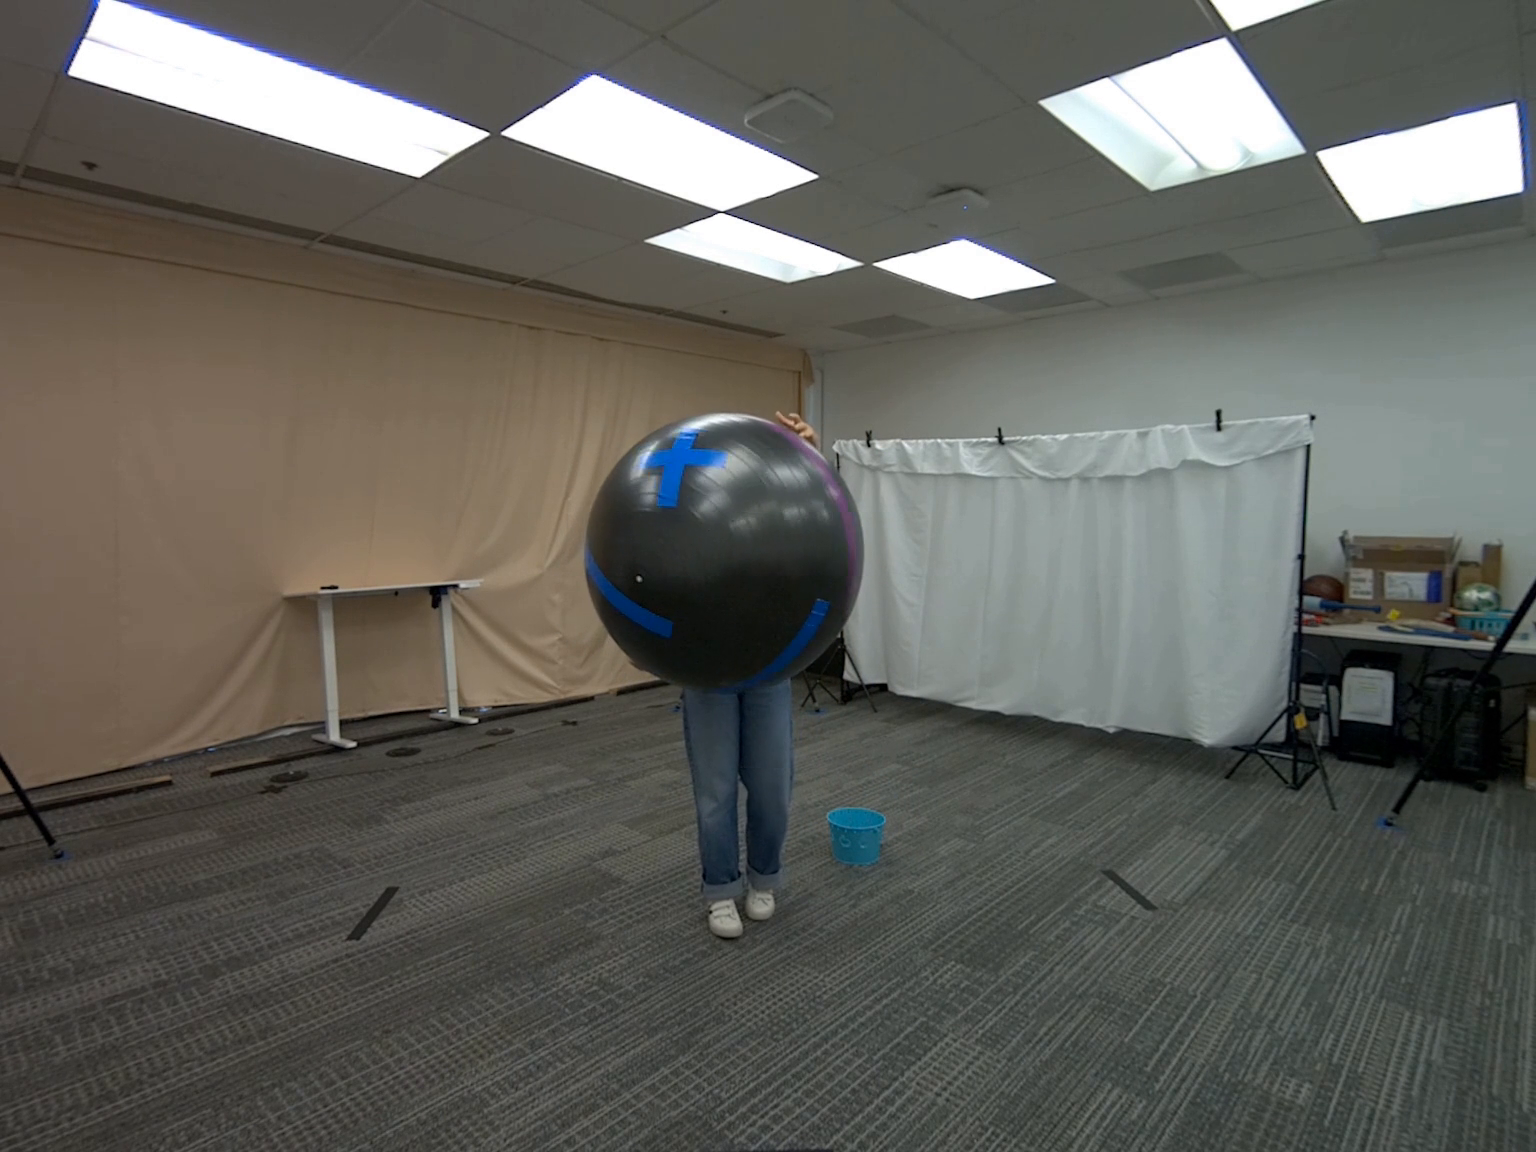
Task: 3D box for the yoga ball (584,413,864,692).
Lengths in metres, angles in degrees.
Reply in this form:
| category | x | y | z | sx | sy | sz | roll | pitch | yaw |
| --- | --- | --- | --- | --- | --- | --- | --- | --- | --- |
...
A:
| category | x | y | z | sx | sy | sz | roll | pitch | yaw |
| --- | --- | --- | --- | --- | --- | --- | --- | --- | --- |
| yoga ball | -0.116 | -0.061 | 2.289 | 0.757 | 0.756 | 0.760 | 0 | 4 | -2 |
